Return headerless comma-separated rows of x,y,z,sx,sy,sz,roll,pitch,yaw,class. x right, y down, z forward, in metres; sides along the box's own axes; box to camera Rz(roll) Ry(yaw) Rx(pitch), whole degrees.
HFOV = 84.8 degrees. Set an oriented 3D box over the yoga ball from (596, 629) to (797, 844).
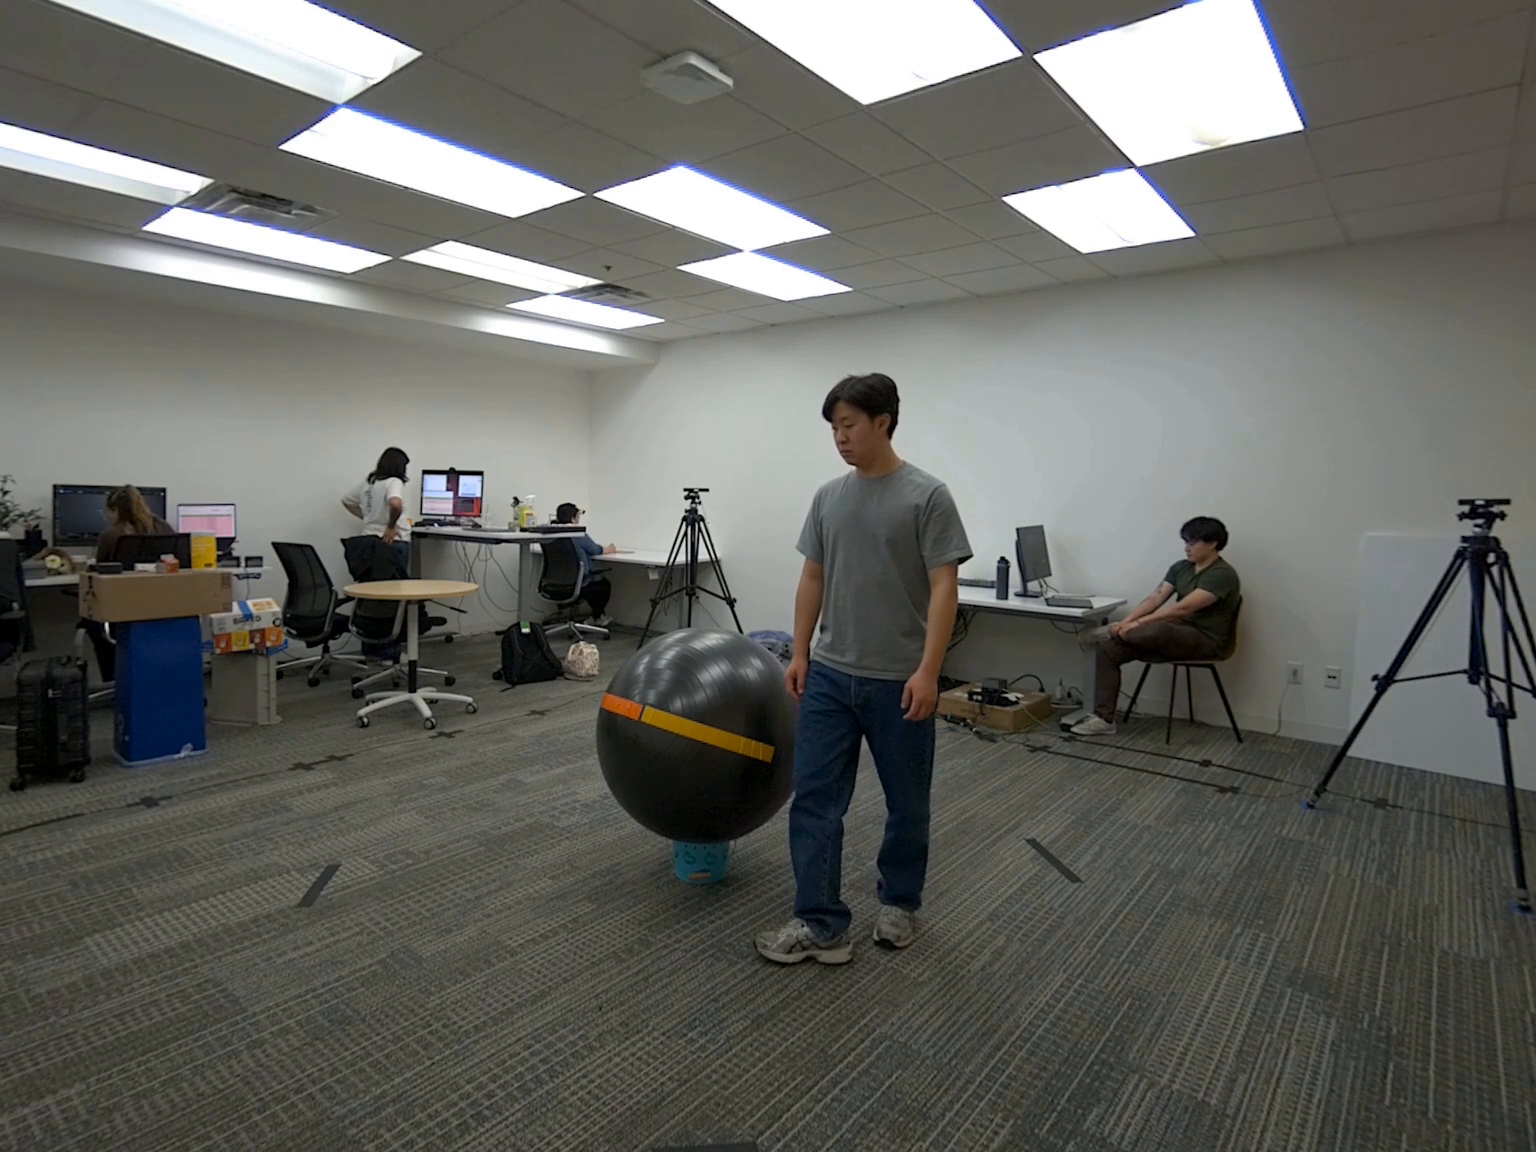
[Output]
-0.249,0.561,3.063,0.757,0.755,0.762,1,4,-2,yoga ball
